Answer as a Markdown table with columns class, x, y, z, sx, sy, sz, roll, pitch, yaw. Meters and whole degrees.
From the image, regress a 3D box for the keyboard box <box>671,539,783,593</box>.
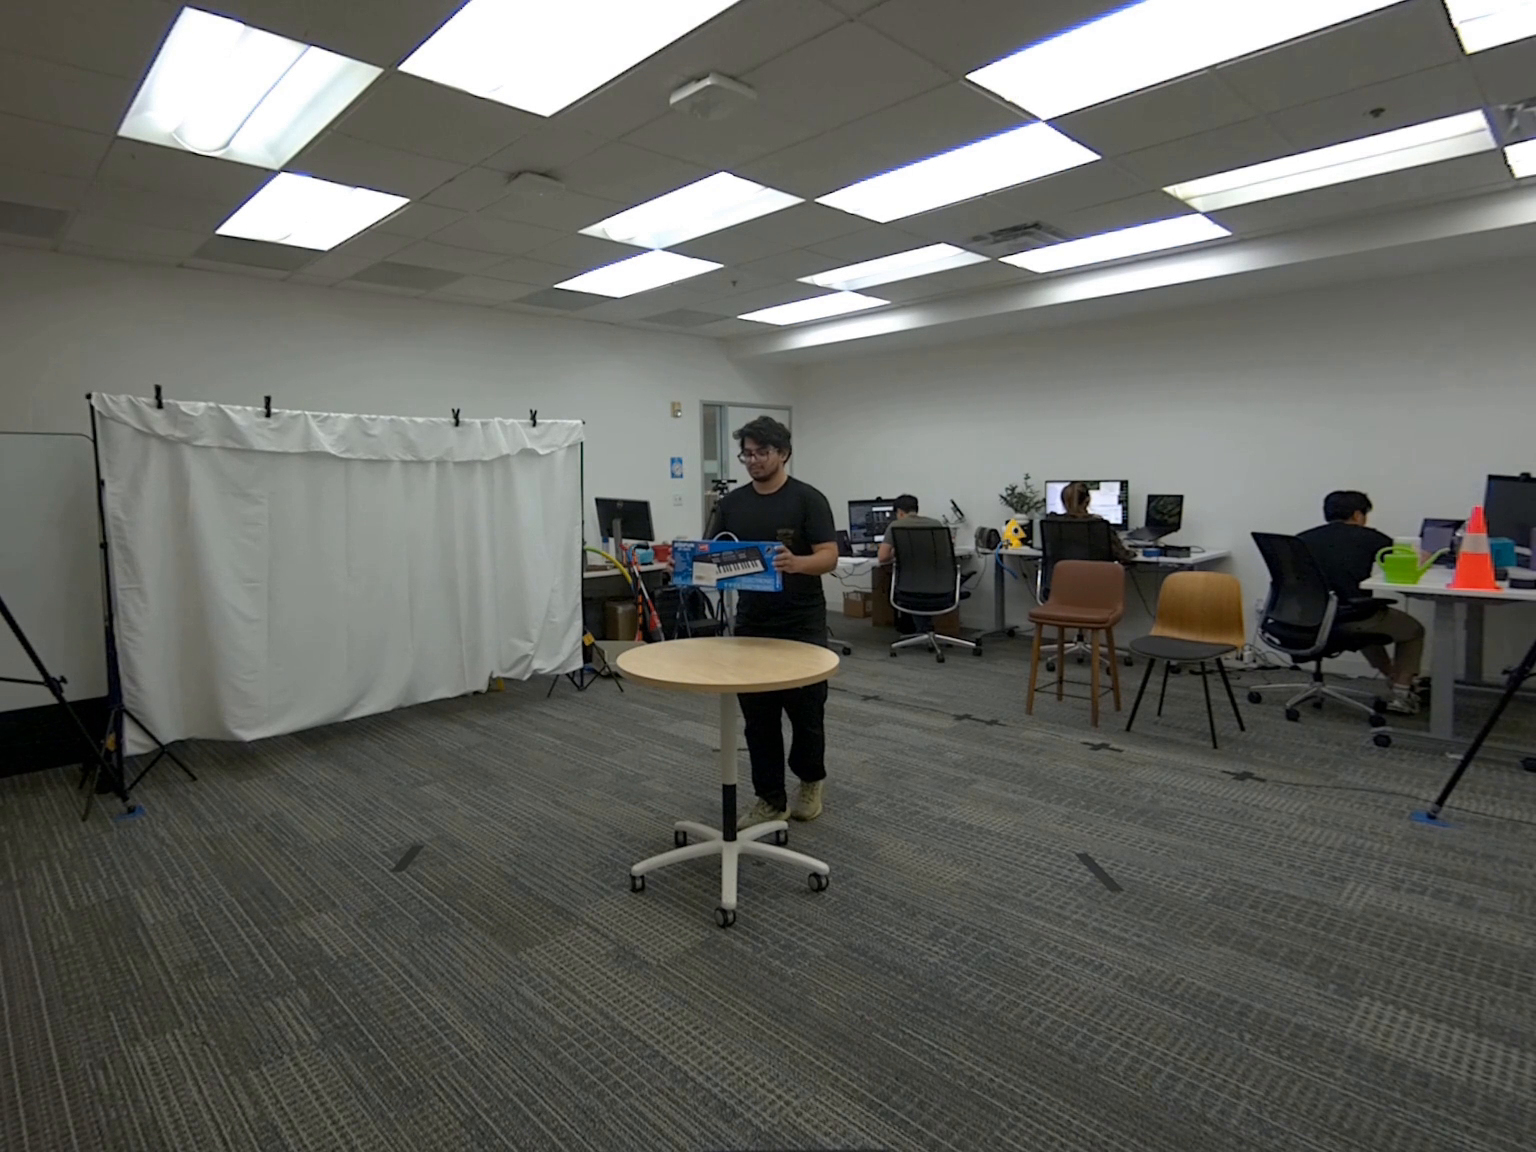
| class | x | y | z | sx | sy | sz | roll | pitch | yaw |
| --- | --- | --- | --- | --- | --- | --- | --- | --- | --- |
| keyboard box | -0.157 | -0.037 | 3.145 | 0.448 | 0.175 | 0.058 | 3 | 3 | 30 |
